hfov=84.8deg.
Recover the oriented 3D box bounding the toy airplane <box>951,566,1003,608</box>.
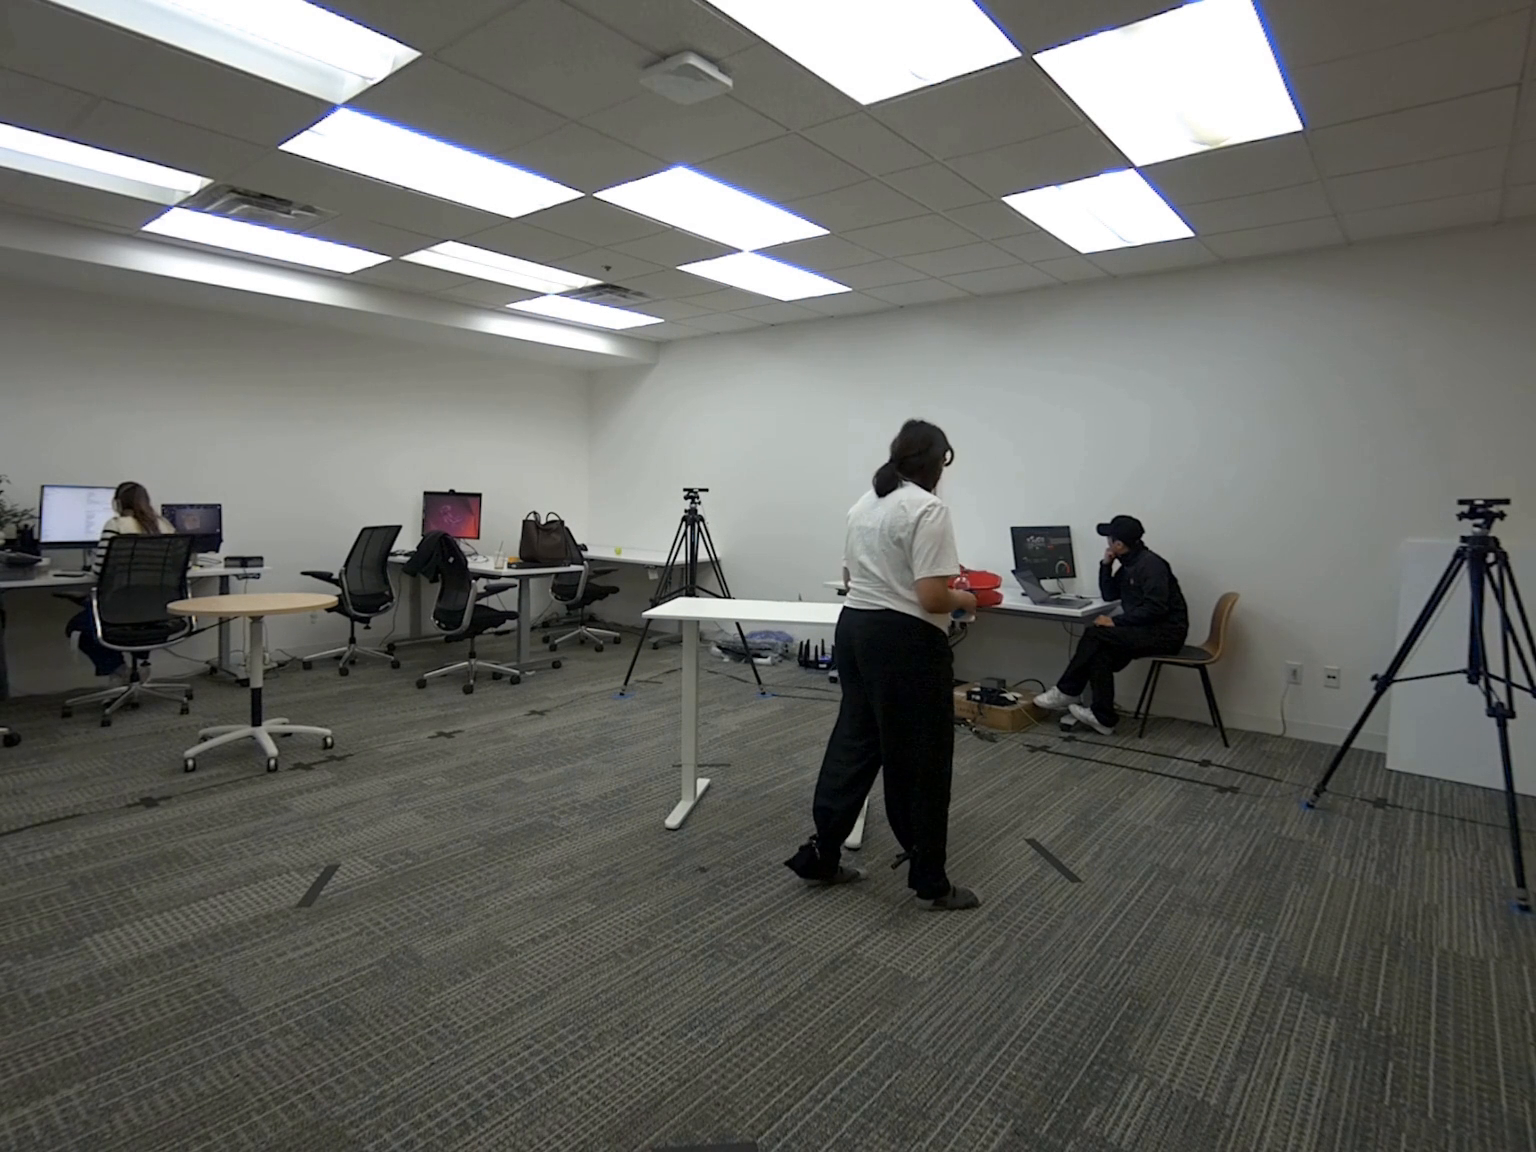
[{"bbox_3d":[0.718,0.082,3.038,0.251,0.153,0.265,-7,23,-2],"label":"toy airplane"}]
